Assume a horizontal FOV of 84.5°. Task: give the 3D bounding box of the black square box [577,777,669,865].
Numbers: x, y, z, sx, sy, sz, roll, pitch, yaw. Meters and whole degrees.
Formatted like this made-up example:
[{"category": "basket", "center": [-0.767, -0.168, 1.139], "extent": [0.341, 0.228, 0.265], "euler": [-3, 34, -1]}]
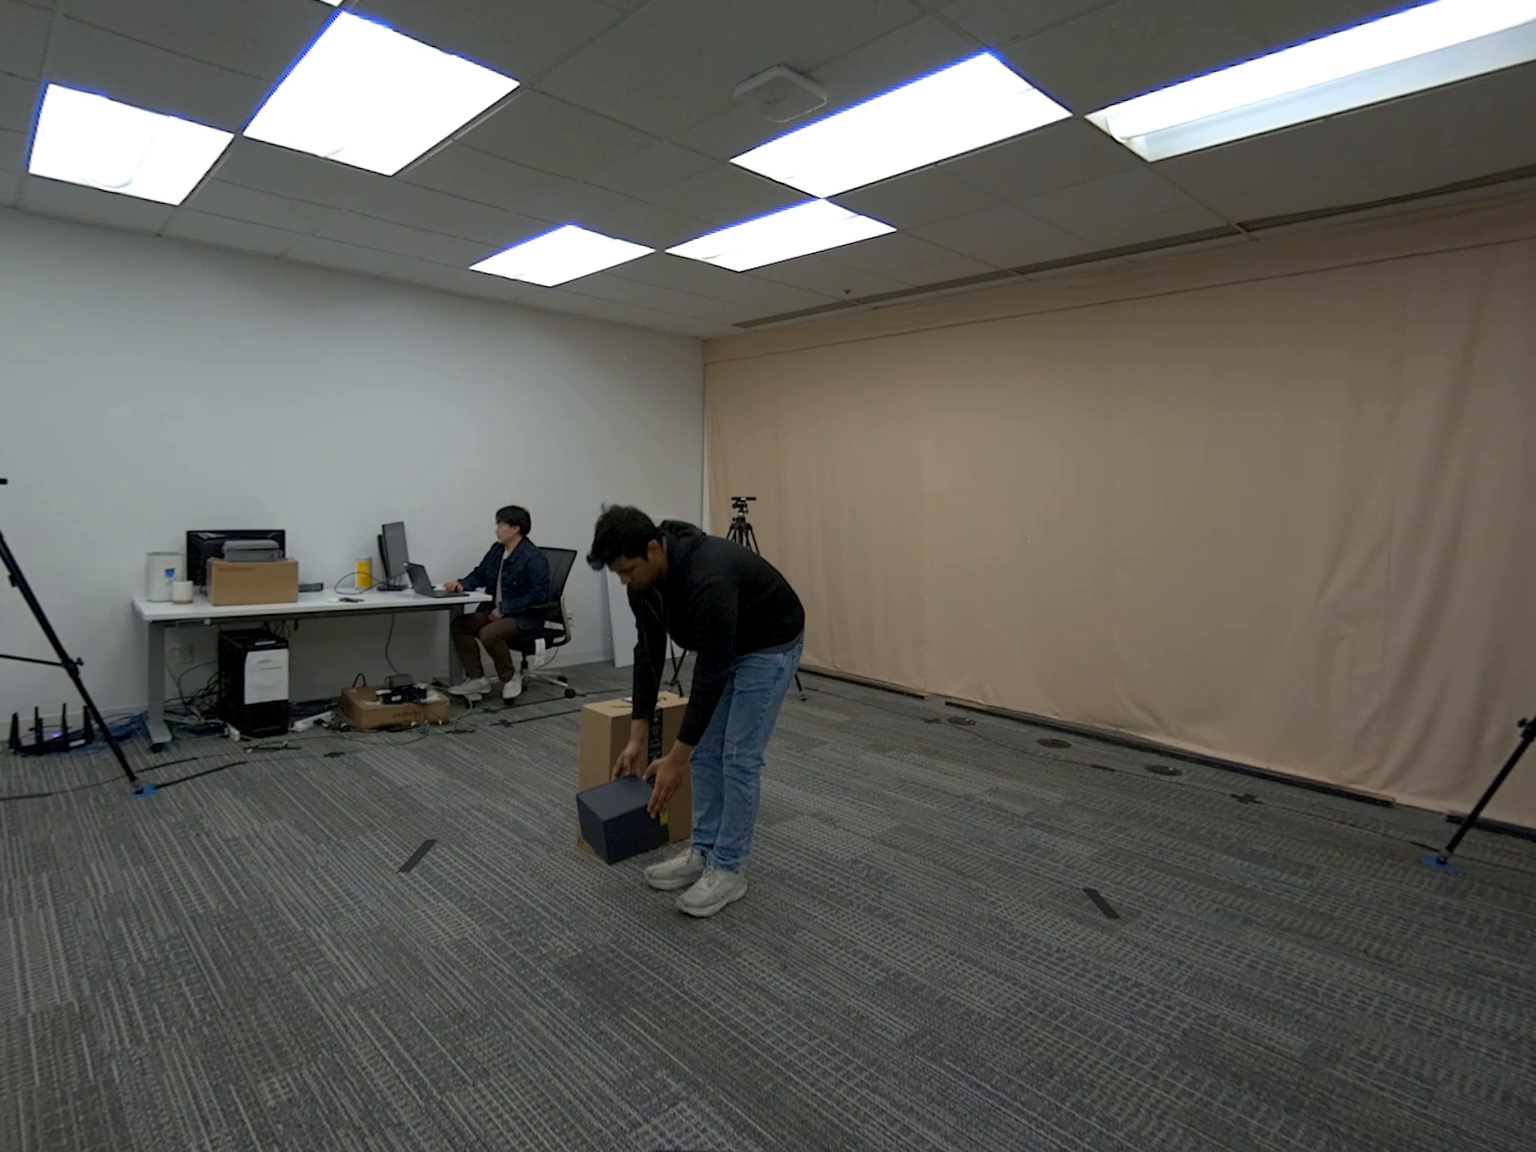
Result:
[{"category": "black square box", "center": [-0.481, 0.775, 2.713], "extent": [0.213, 0.154, 0.234], "euler": [-13, 14, -33]}]
